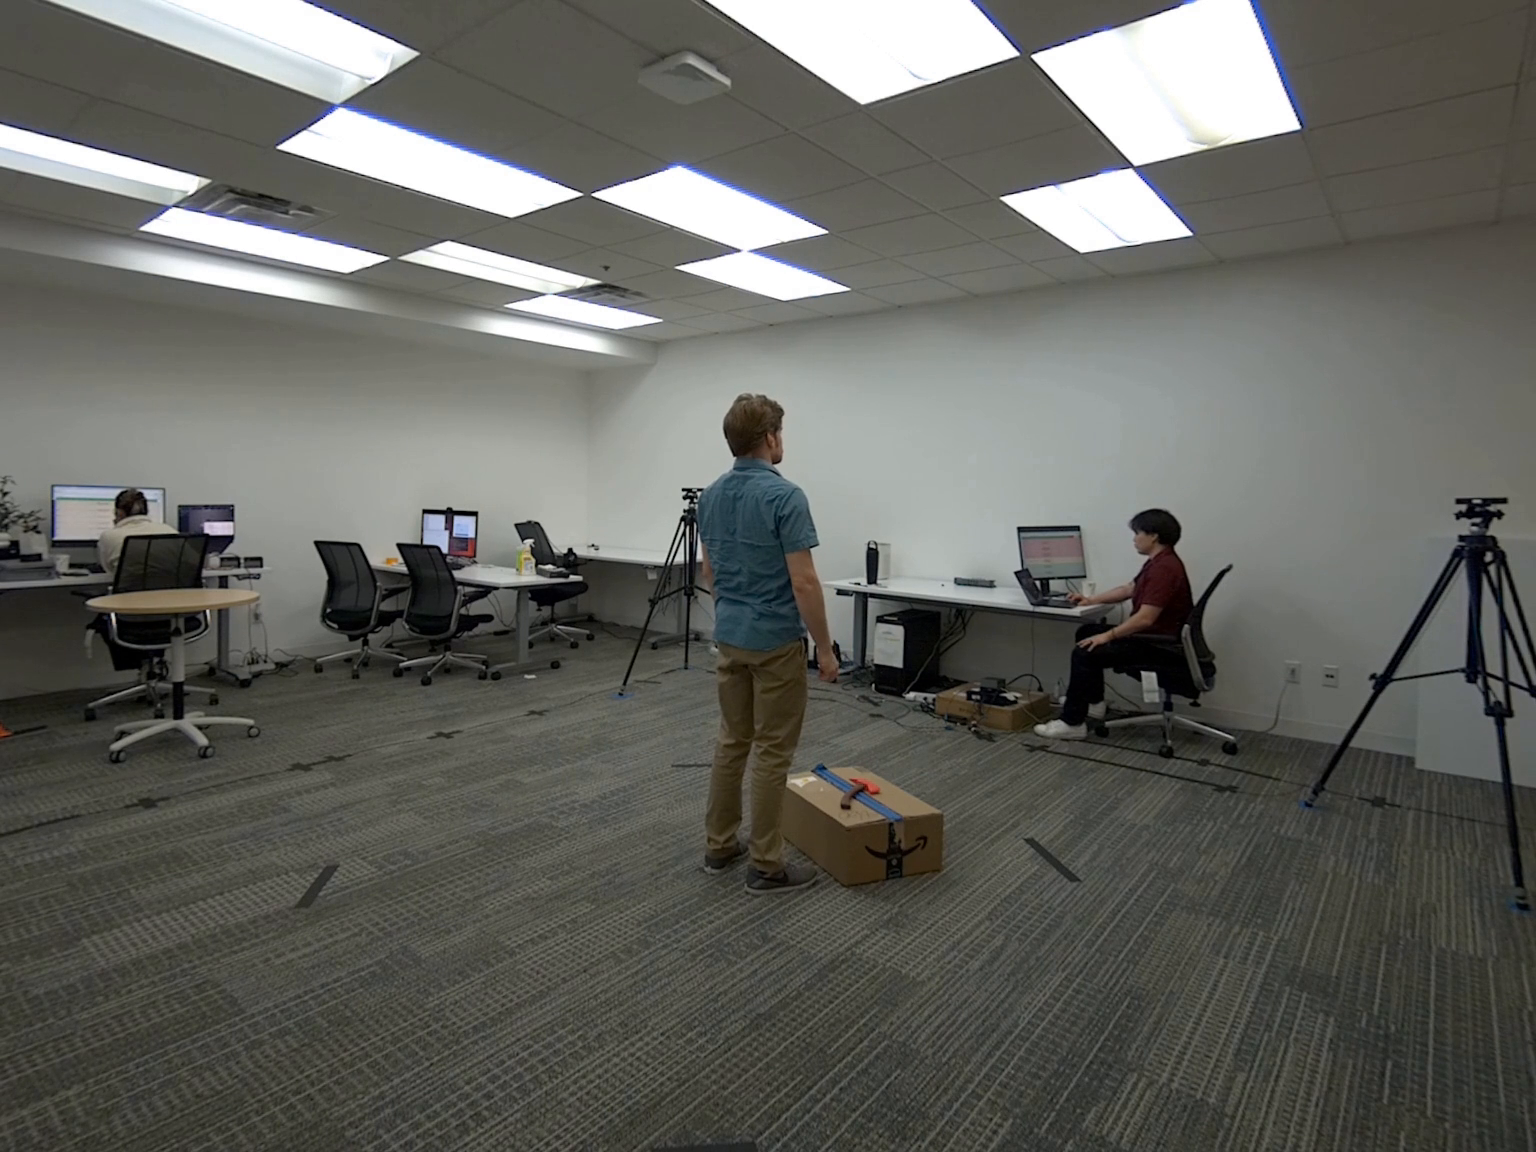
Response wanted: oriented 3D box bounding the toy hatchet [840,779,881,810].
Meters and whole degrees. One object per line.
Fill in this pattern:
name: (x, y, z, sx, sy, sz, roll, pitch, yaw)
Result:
toy hatchet: (0.342, 0.831, 3.259, 0.133, 0.029, 0.267, 8, 10, 13)
